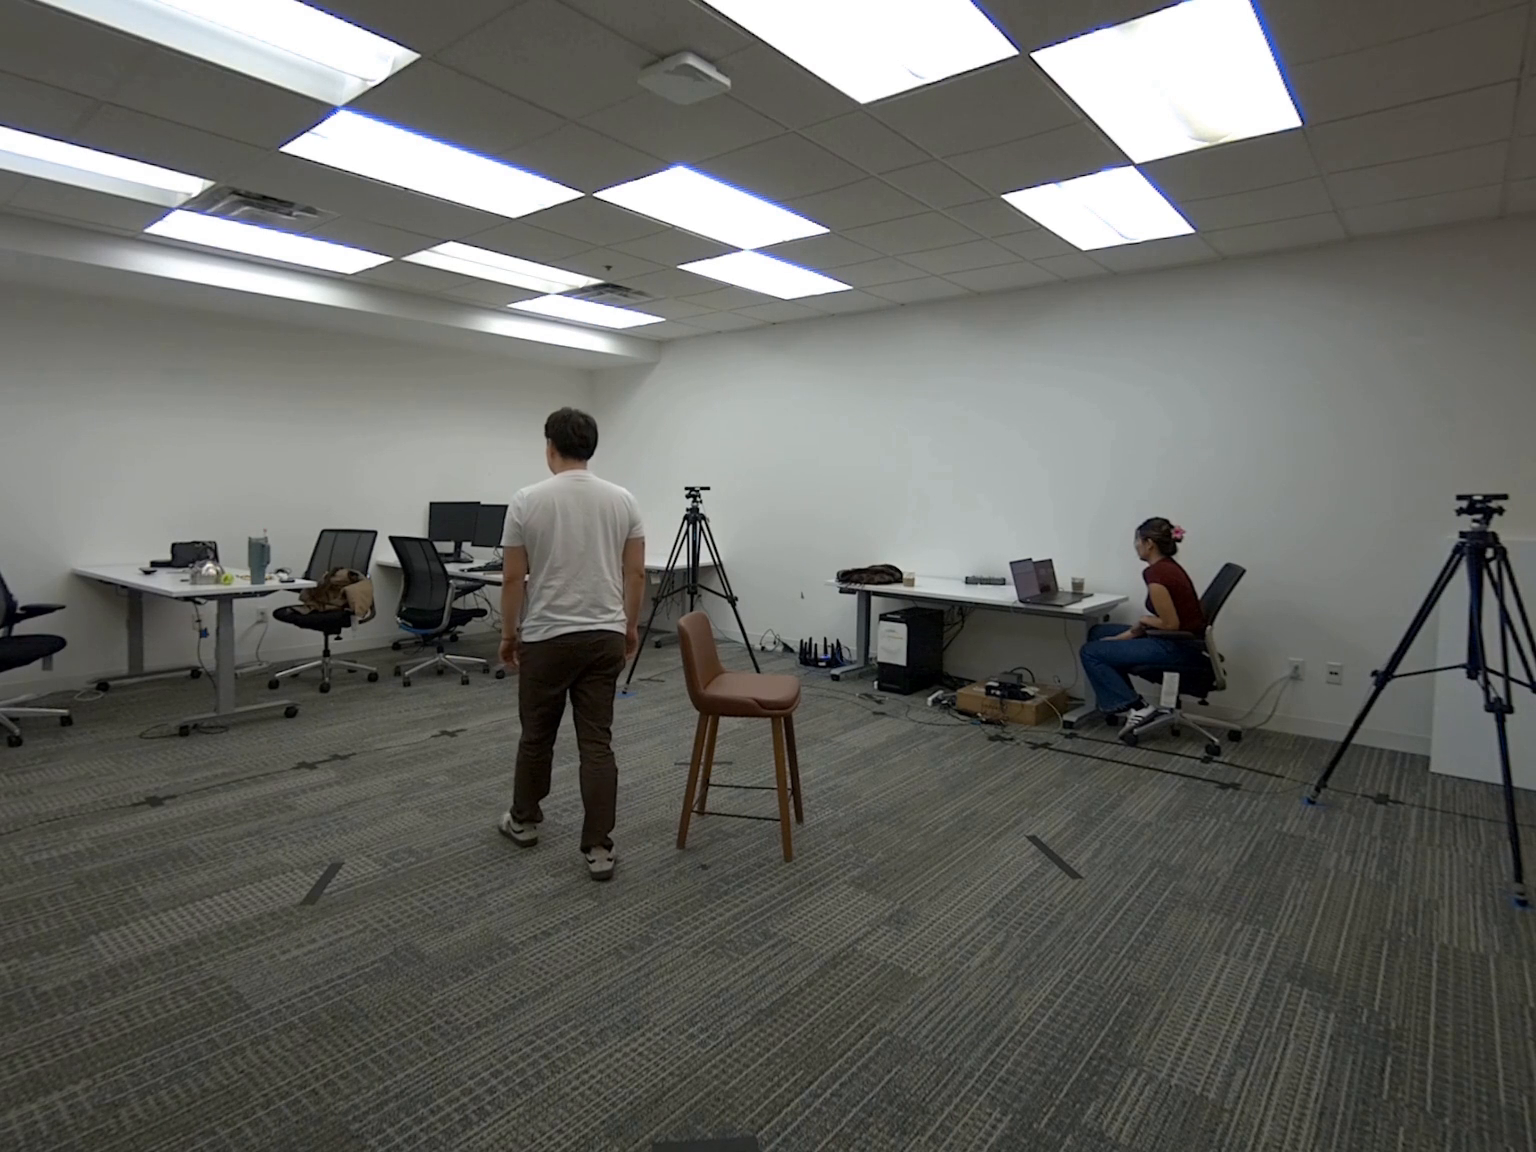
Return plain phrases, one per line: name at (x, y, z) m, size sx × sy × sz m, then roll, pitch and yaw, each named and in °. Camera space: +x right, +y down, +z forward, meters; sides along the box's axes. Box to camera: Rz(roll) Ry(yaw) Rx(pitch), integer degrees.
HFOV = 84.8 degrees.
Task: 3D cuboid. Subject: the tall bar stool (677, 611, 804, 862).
tall bar stool at (-0.114, 0.603, 3.397) m, size 0.474 × 0.888 × 0.452 m, roll 0°, pitch 3°, yaw 12°
